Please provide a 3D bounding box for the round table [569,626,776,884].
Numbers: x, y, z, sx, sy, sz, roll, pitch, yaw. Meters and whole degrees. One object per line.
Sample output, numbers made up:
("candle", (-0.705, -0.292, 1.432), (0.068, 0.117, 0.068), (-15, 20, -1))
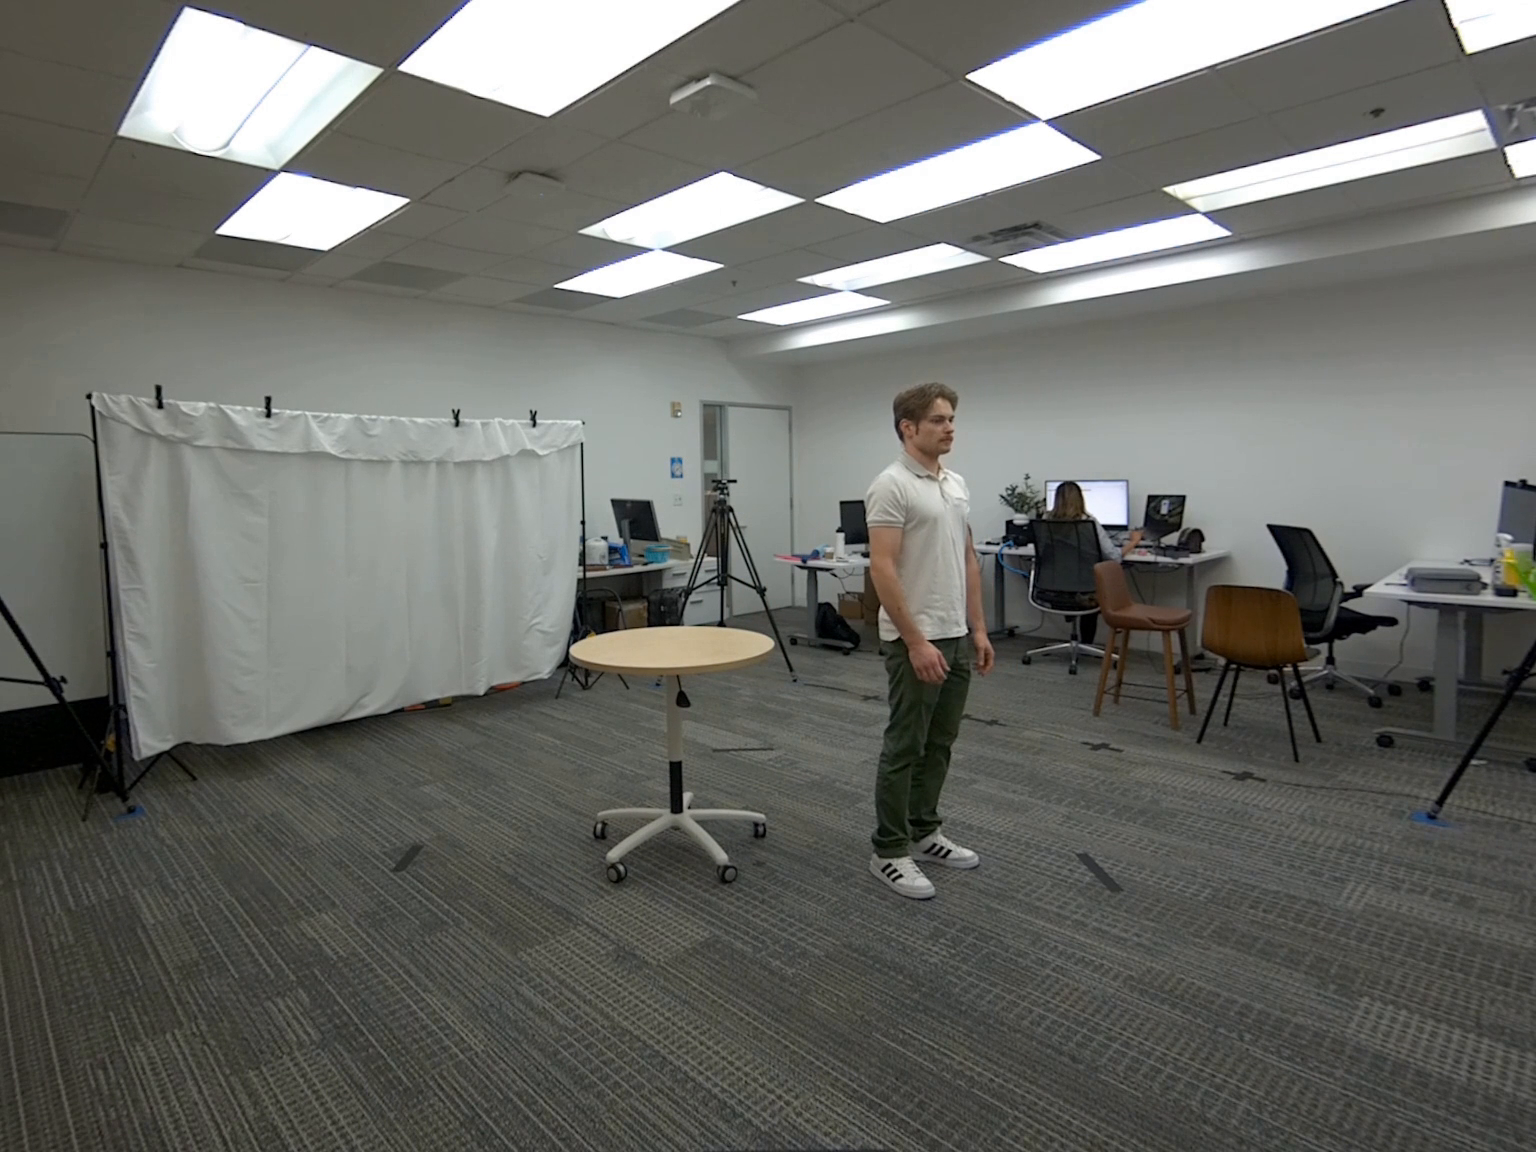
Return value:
("round table", (-0.352, 0.649, 3.238), (0.763, 0.791, 0.768), (-1, 5, -2))
